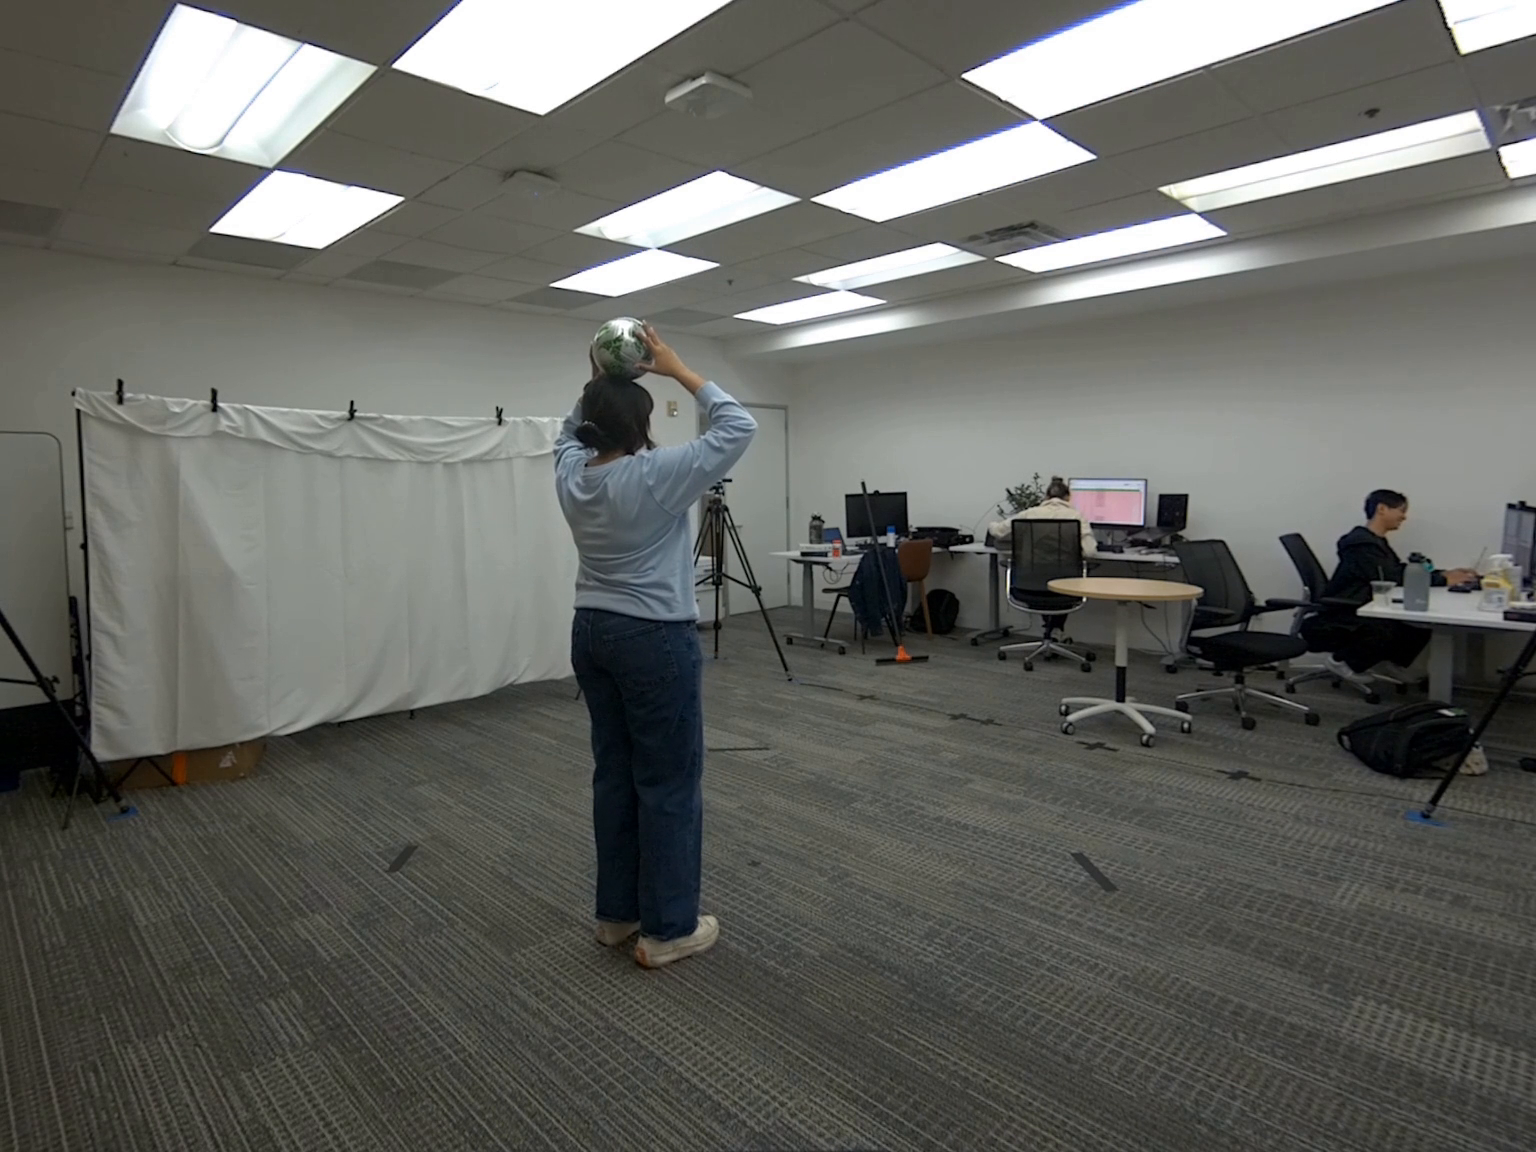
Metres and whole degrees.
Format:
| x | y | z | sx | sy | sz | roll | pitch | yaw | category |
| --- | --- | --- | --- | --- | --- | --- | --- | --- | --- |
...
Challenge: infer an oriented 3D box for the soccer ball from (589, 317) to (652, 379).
| x | y | z | sx | sy | sz | roll | pitch | yaw | category |
| --- | --- | --- | --- | --- | --- | --- | --- | --- | --- |
| -0.421 | -0.671 | 2.541 | 0.187 | 0.187 | 0.188 | -1 | 5 | -2 | soccer ball |
